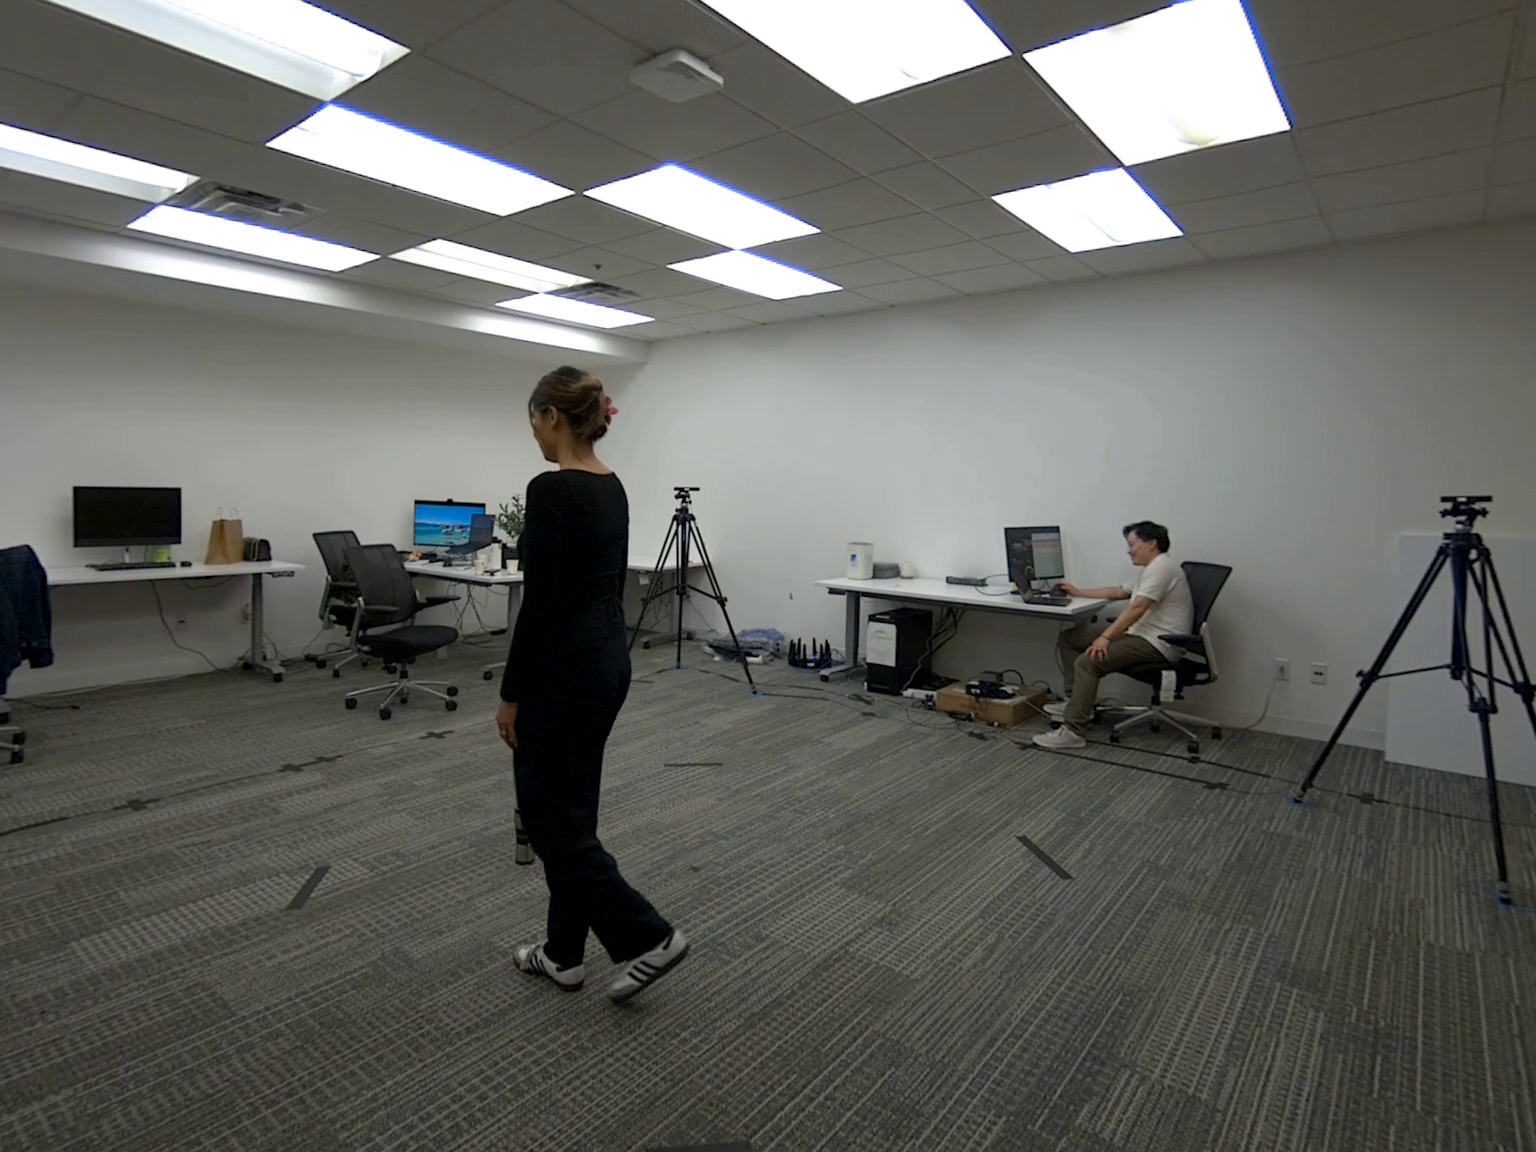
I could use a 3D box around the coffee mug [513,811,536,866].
[{"bbox_3d":[-0.904,0.956,3.116,0.086,0.203,0.124,2,-1,-18],"label":"coffee mug"}]
